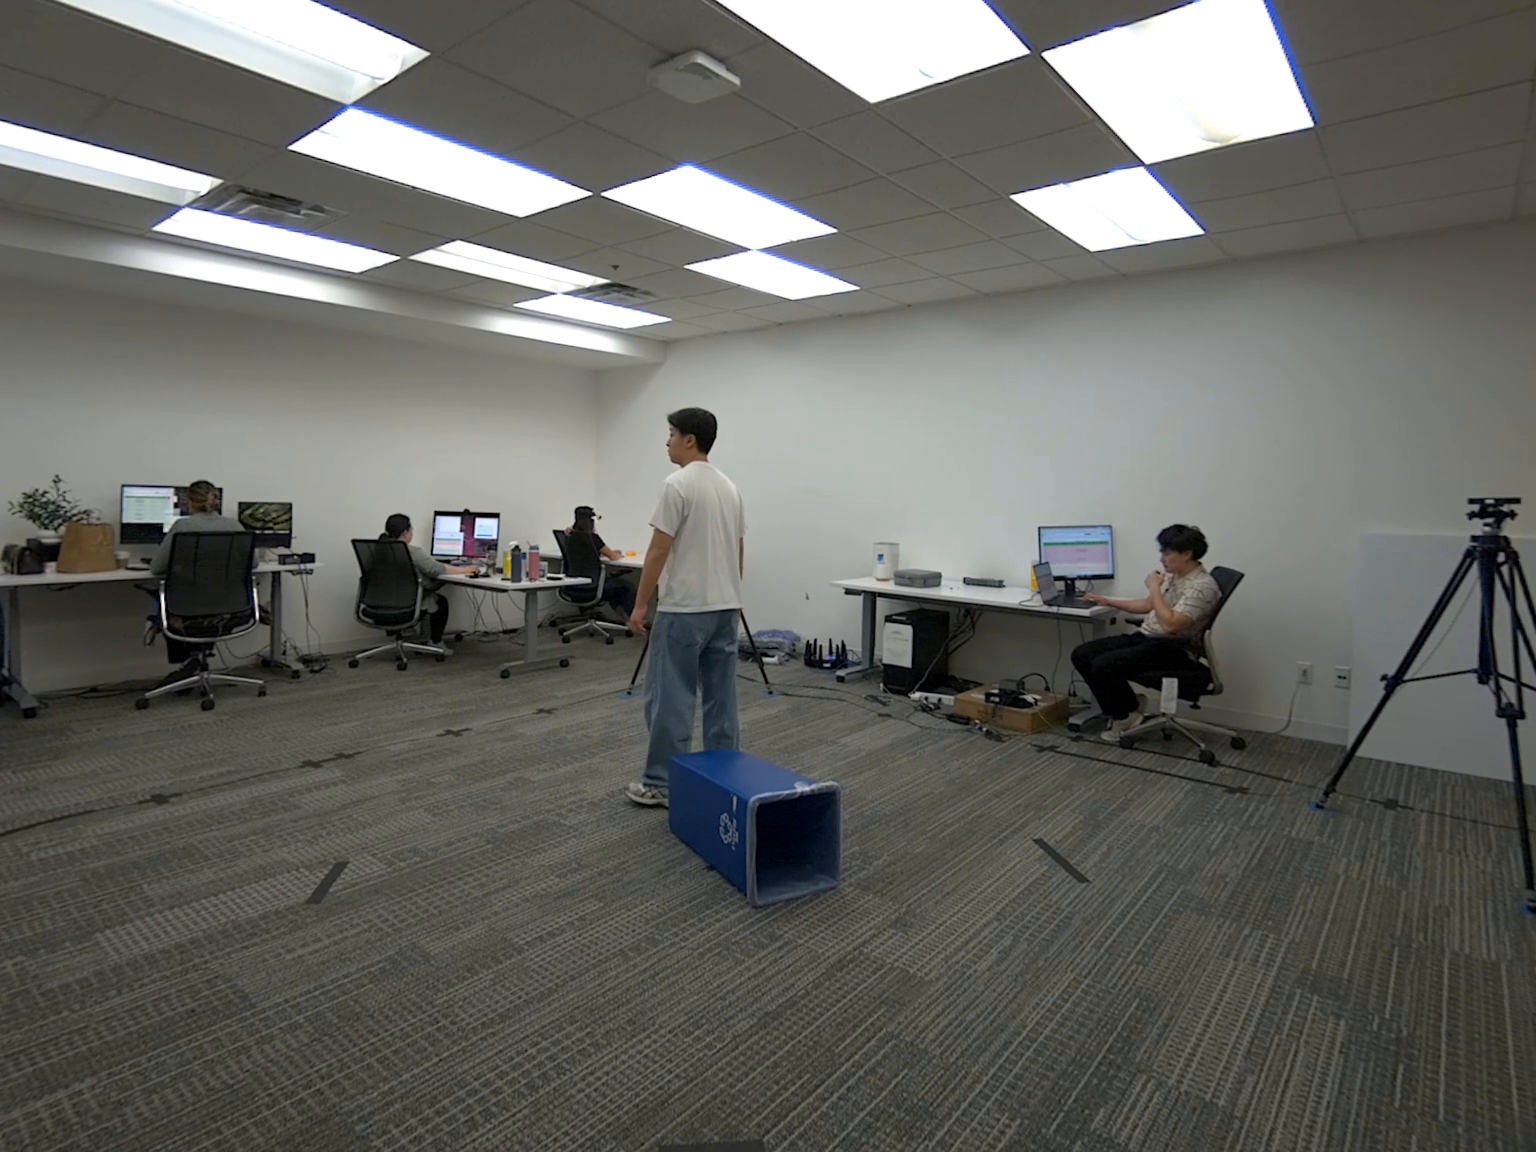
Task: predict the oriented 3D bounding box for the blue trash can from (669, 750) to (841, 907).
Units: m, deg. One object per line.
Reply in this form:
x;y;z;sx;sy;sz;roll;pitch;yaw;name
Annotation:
-0.096;0.895;3.194;0.364;0.377;0.734;-1;3;-32;blue trash can
